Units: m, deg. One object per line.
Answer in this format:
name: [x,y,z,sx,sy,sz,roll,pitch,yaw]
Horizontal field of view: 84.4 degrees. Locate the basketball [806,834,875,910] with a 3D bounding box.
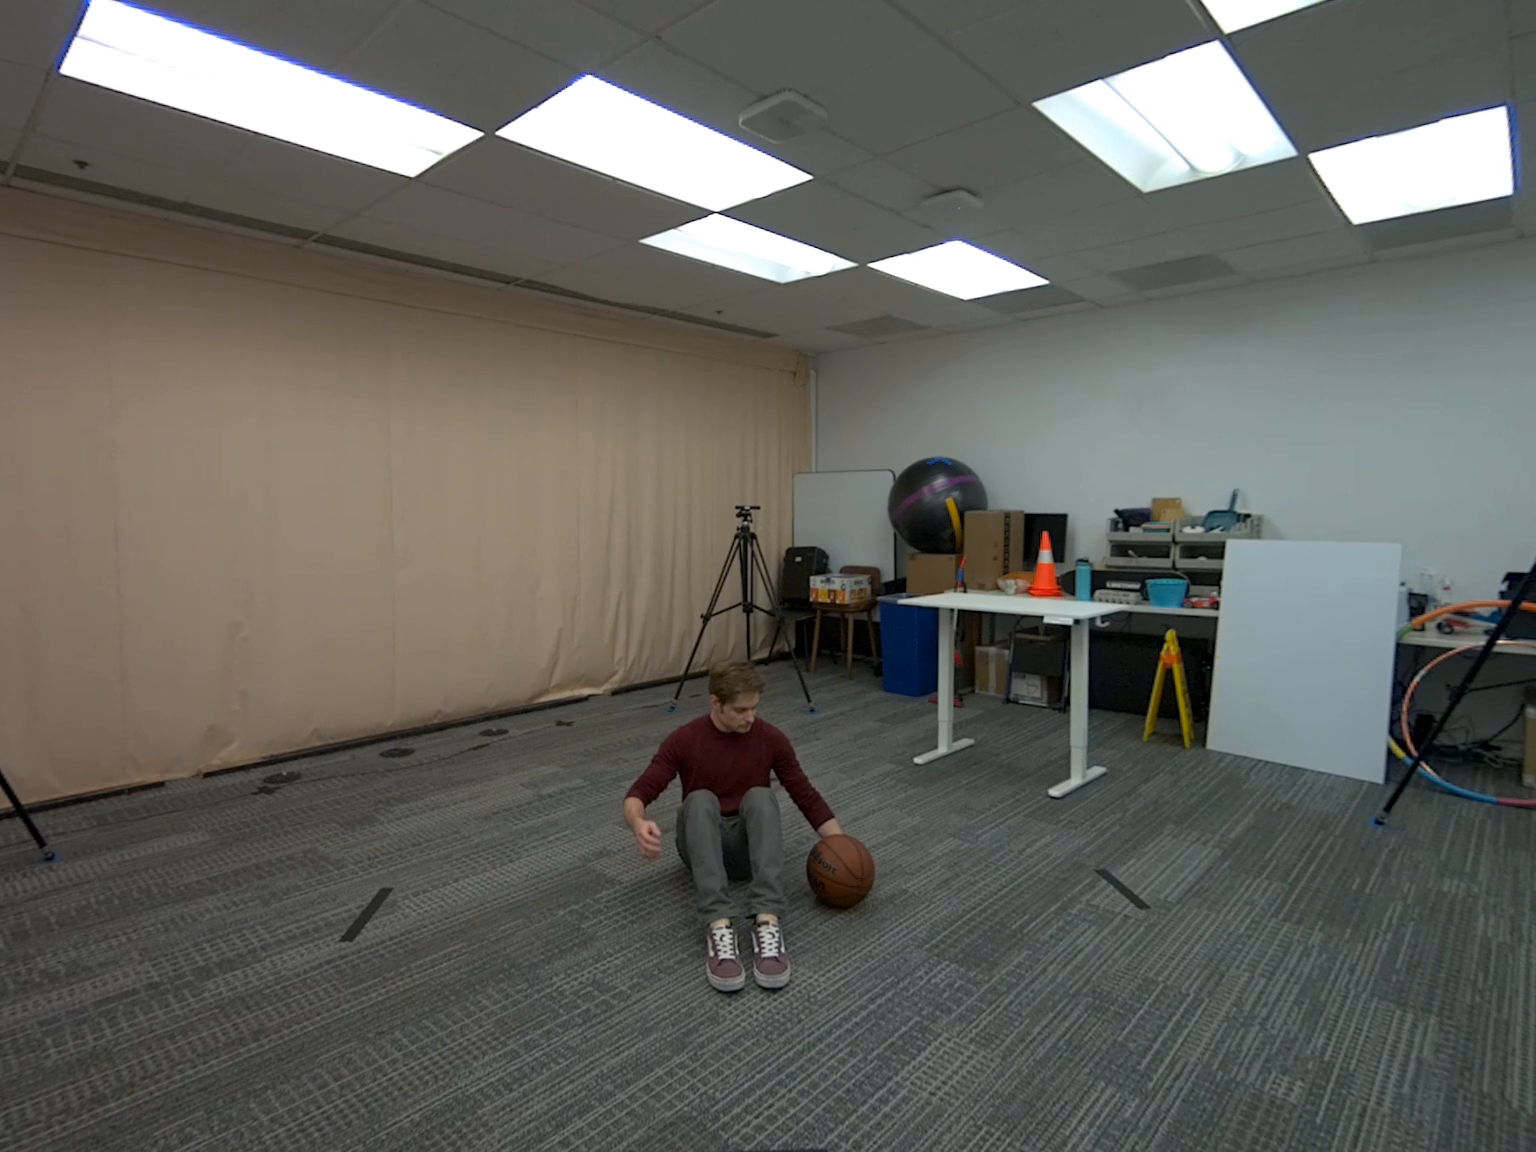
basketball: [0.254,1.027,2.935,0.236,0.235,0.237,0,4,-2]
